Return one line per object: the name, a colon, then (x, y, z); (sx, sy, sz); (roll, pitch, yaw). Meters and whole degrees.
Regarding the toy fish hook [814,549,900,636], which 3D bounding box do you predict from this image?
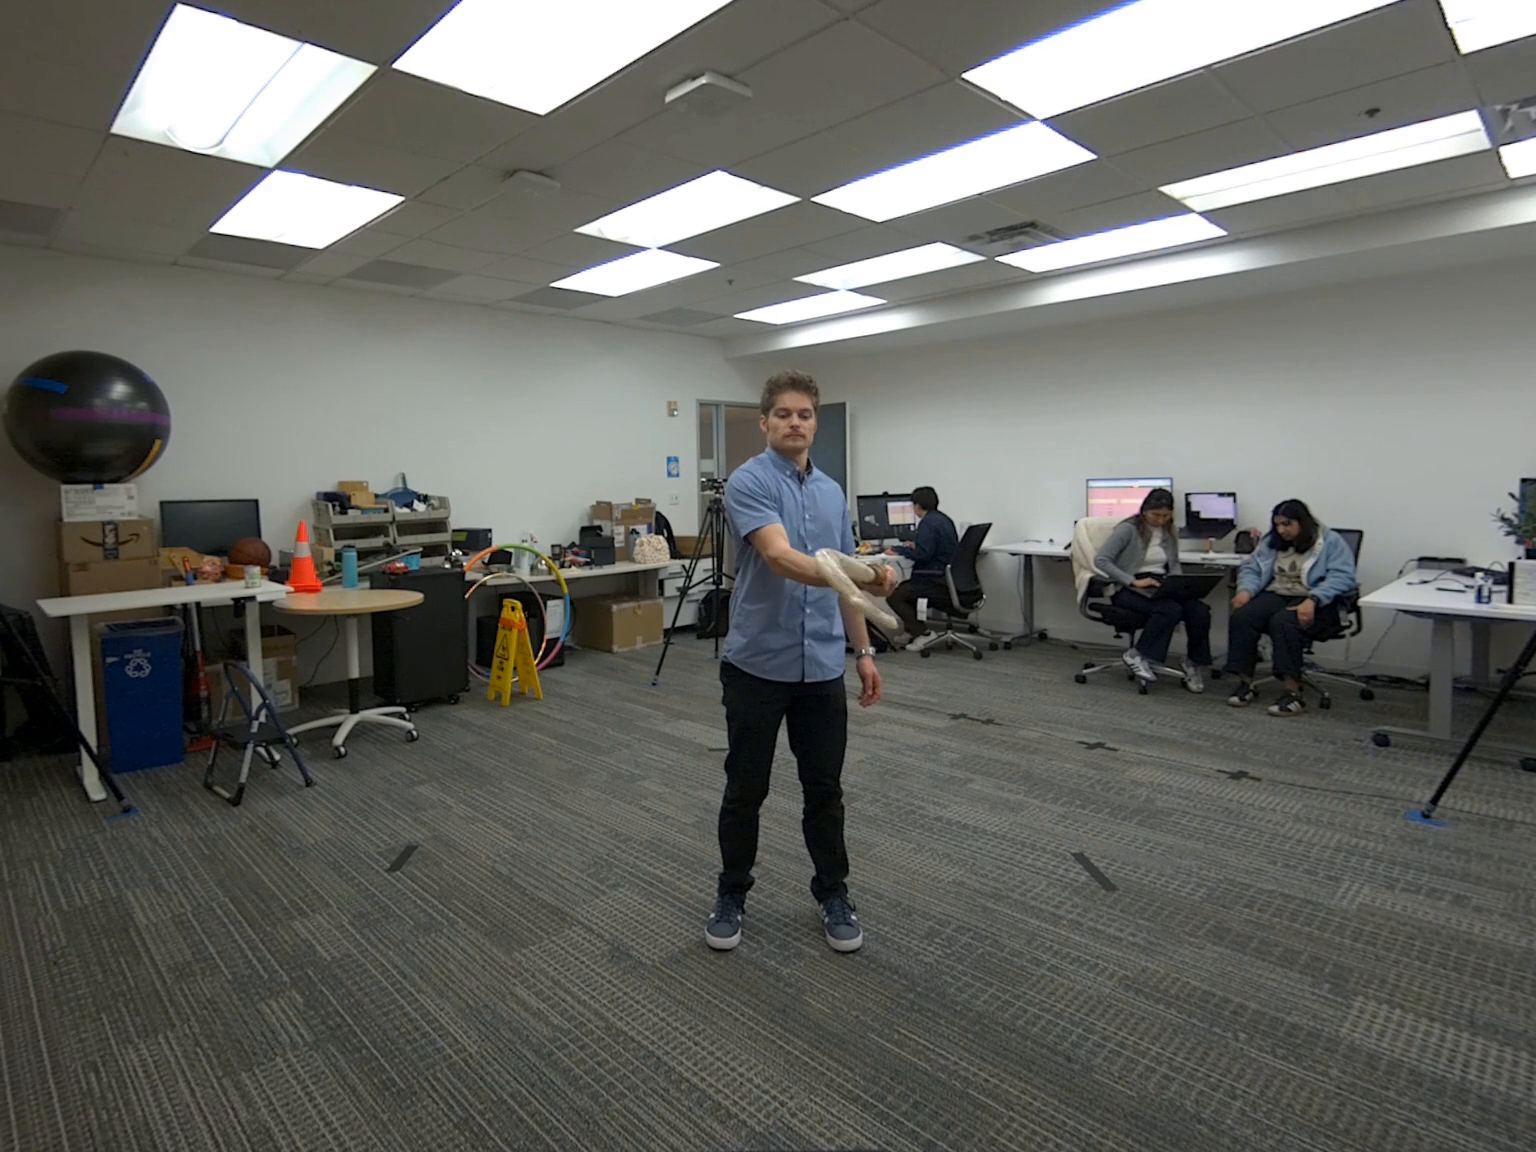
toy fish hook: (0.240, 0.032, 1.945); (0.048, 0.230, 0.494); (-42, -17, 17)
